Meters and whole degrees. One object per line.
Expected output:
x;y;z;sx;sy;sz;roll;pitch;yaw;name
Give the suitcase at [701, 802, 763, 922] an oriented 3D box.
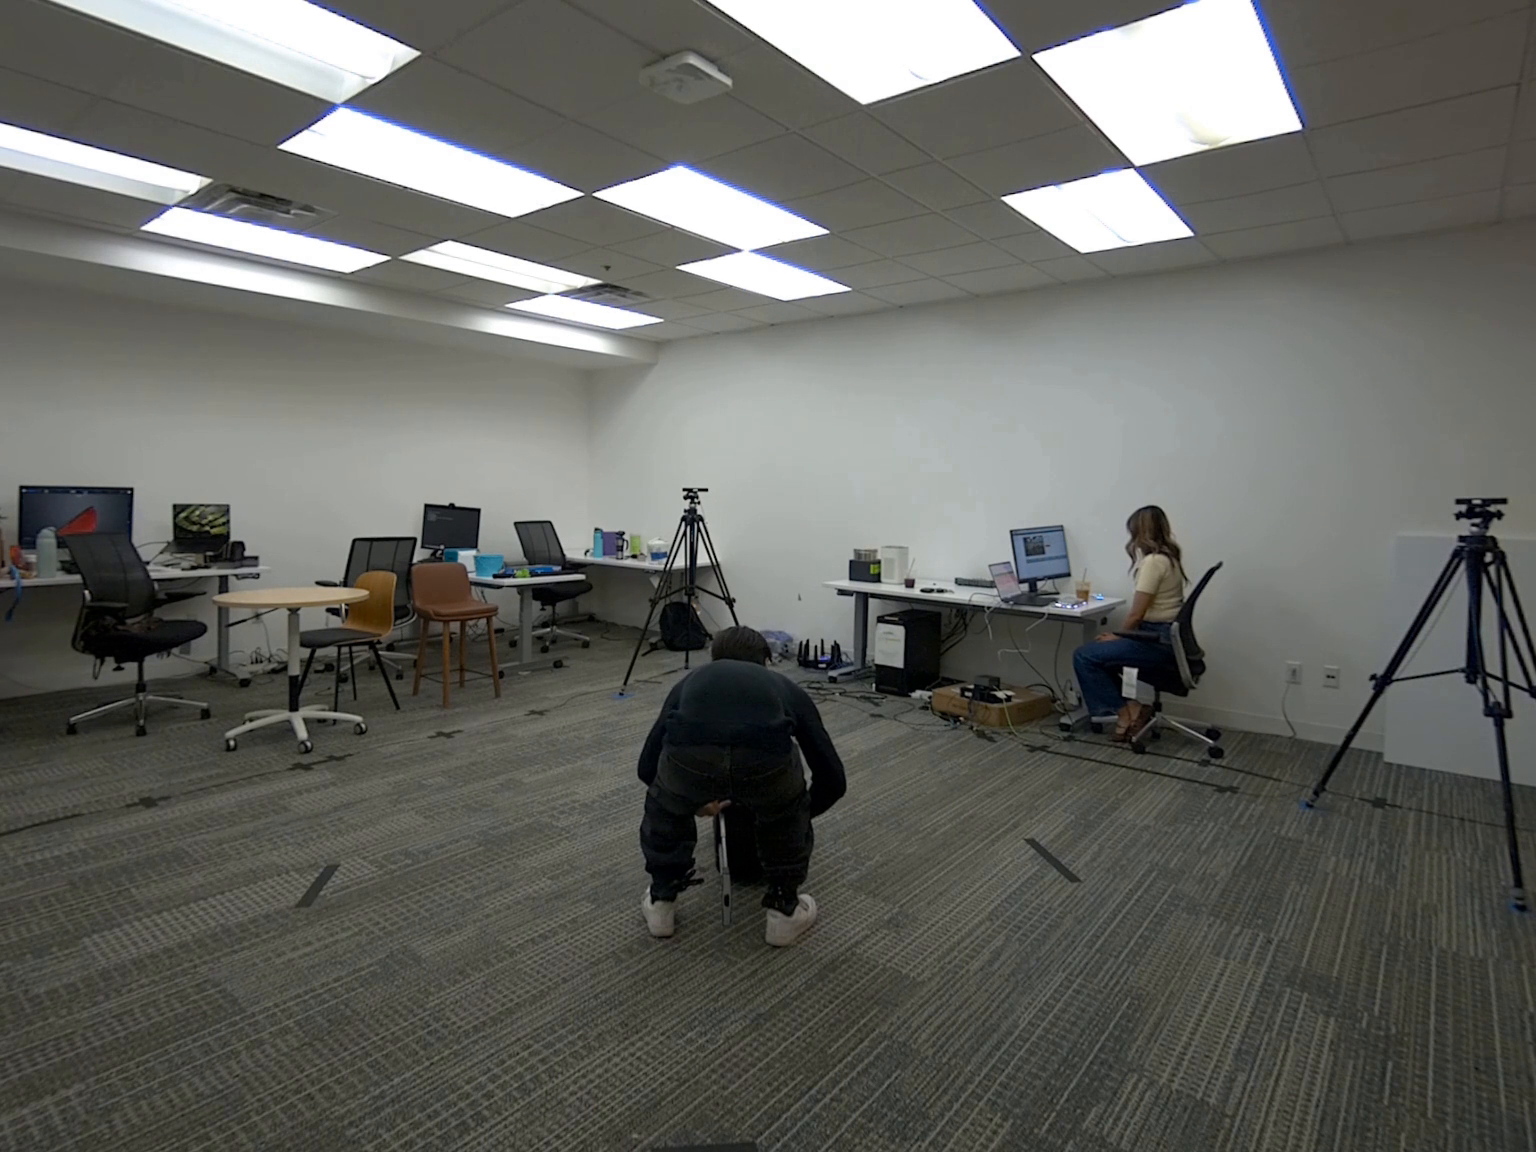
-0.072;0.895;3.017;0.256;0.383;0.984;-1;4;-4;suitcase
